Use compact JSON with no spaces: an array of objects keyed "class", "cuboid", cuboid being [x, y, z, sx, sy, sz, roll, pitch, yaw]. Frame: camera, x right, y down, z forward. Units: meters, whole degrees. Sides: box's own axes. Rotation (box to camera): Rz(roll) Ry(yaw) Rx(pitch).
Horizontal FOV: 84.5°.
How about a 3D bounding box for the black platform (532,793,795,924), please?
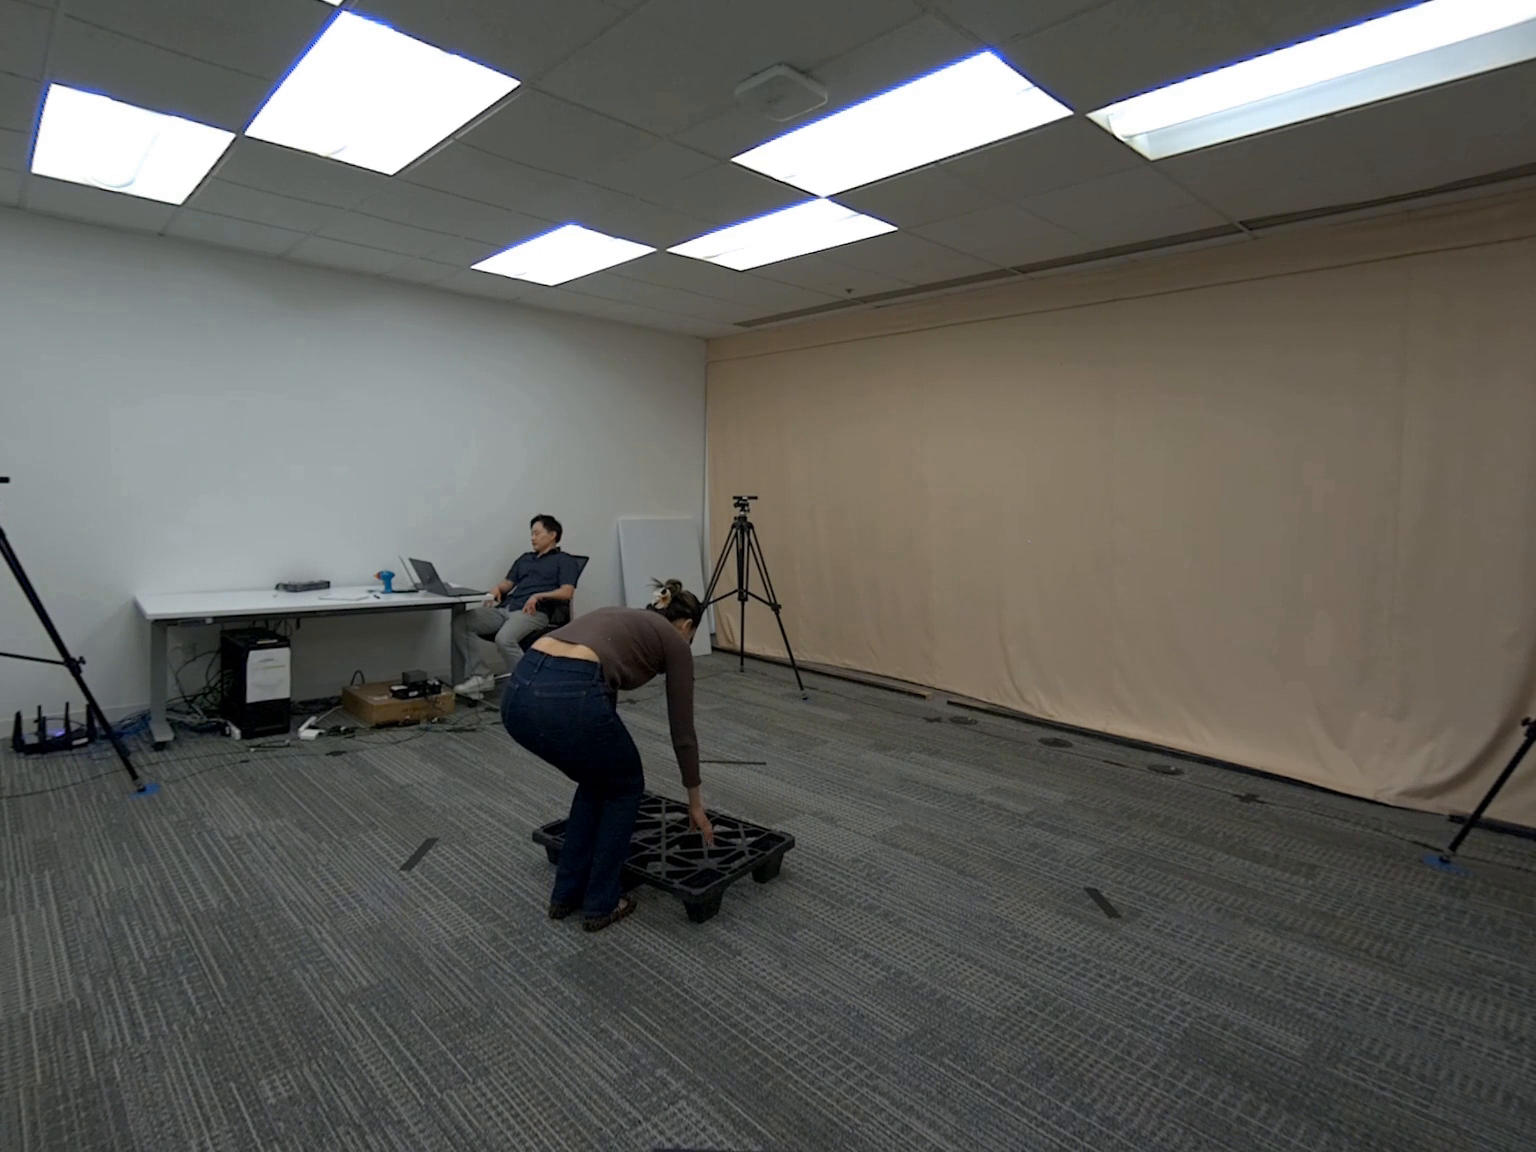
[{"class":"black platform","cuboid":[-0.396,1.027,3.143,0.825,0.143,0.592,5,6,35]}]
